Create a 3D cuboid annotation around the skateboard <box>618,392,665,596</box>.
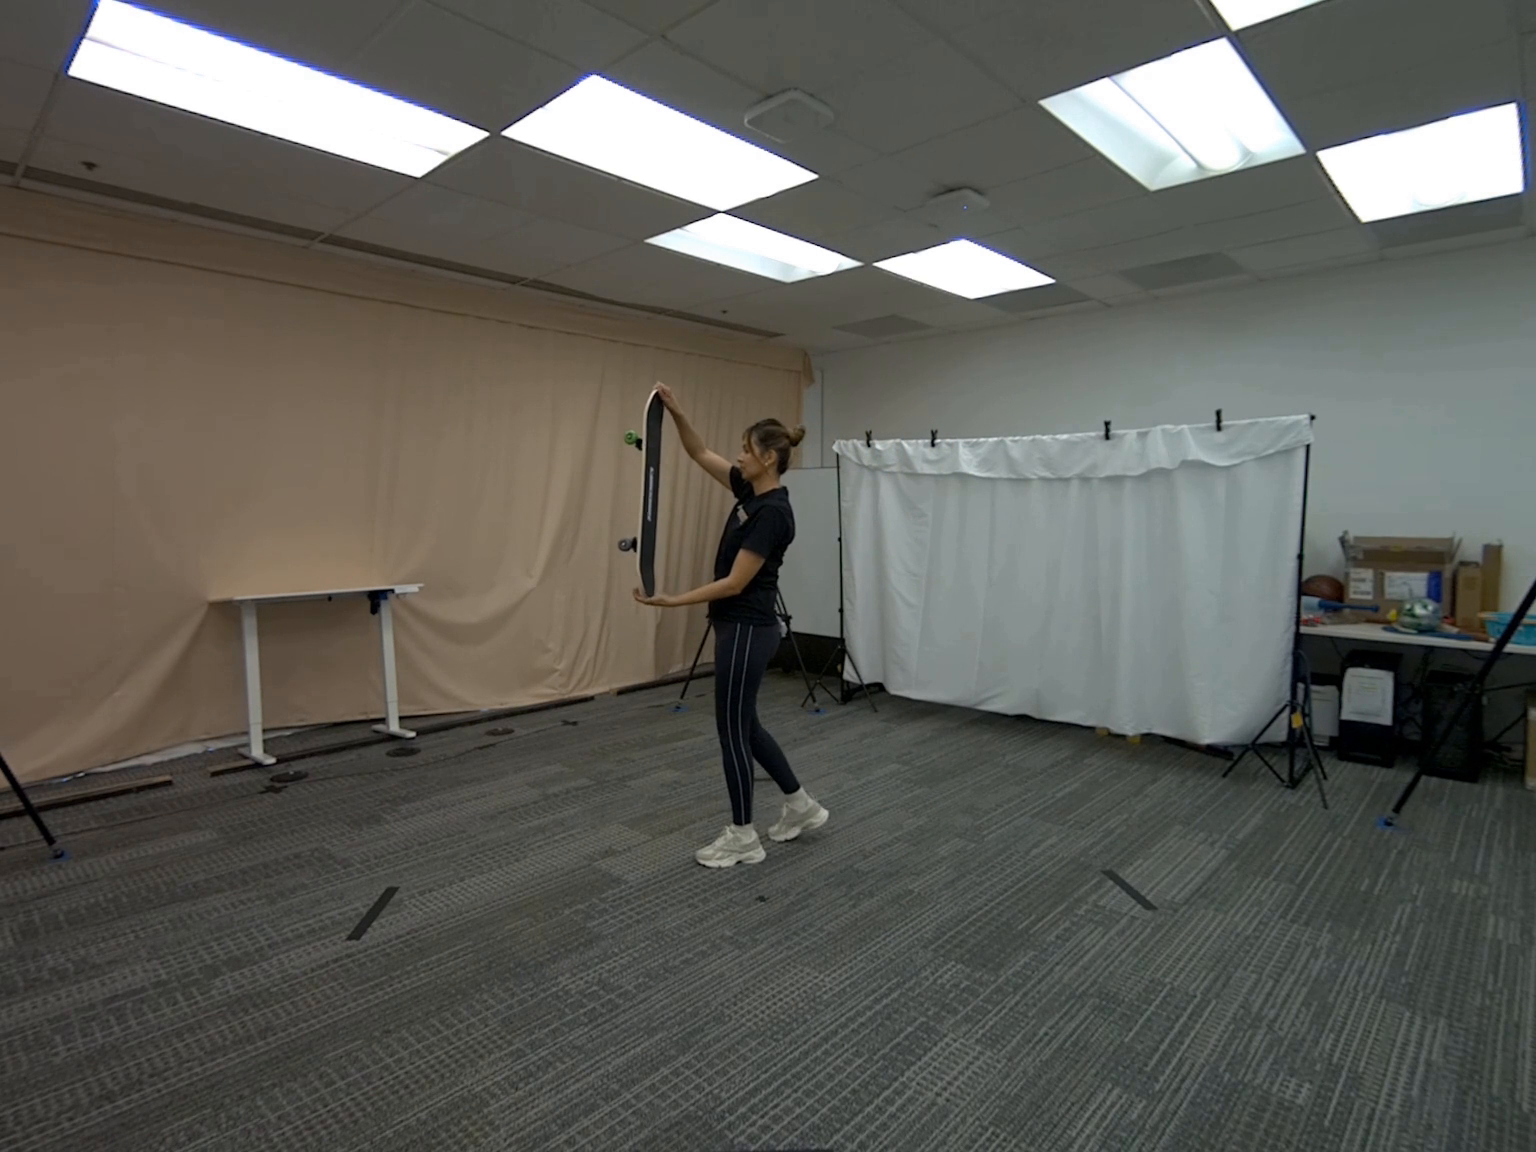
[{"bbox_3d":[-0.476,-0.307,3.175,0.112,0.786,0.190,3,-2,12],"label":"skateboard"}]
